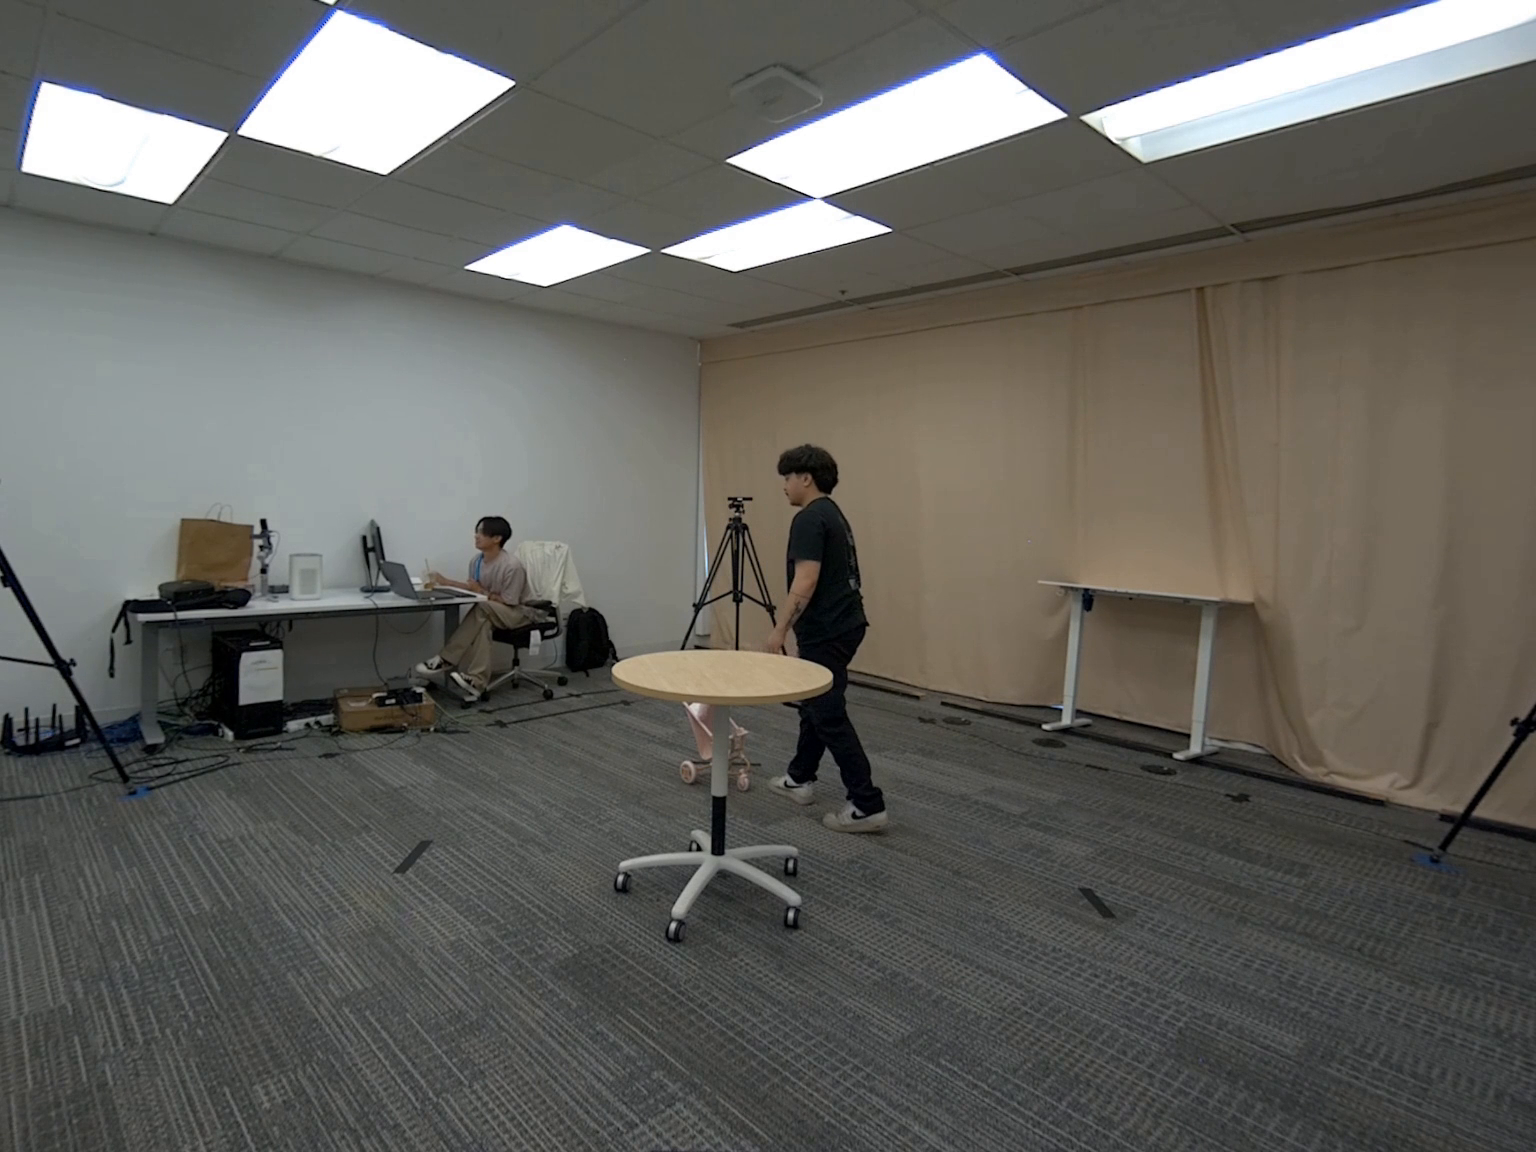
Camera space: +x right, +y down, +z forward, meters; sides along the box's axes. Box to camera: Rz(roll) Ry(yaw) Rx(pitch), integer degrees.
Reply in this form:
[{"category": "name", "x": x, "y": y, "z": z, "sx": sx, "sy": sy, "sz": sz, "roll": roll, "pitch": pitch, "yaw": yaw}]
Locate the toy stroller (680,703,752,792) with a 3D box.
[{"category": "toy stroller", "x": -0.267, "y": 0.791, "z": 4.162, "sx": 0.275, "sy": 0.539, "sz": 0.347, "roll": 0, "pitch": -11, "yaw": -45}]
